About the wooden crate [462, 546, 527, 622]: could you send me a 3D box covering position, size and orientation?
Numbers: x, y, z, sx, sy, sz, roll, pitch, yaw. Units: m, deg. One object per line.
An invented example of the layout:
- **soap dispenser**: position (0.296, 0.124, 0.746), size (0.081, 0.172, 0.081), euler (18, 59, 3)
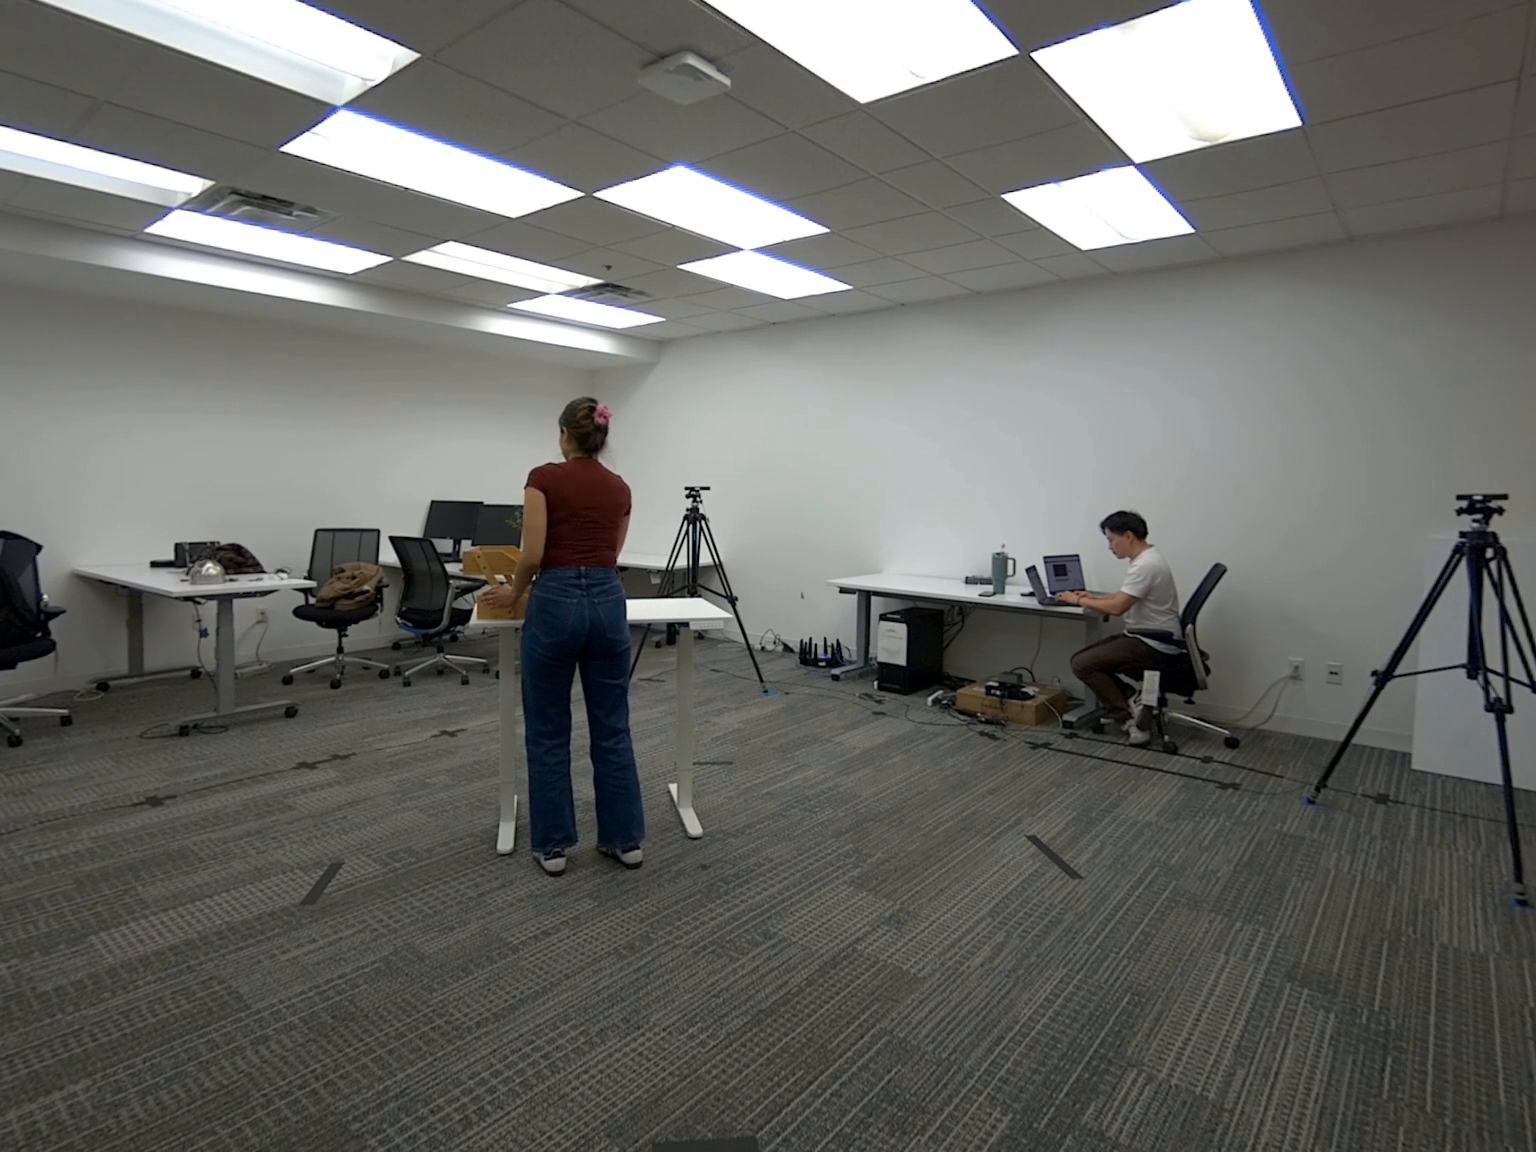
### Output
- **wooden crate**: position (-1.040, 0.017, 3.374), size (0.300, 0.272, 0.328), euler (0, 4, -7)
